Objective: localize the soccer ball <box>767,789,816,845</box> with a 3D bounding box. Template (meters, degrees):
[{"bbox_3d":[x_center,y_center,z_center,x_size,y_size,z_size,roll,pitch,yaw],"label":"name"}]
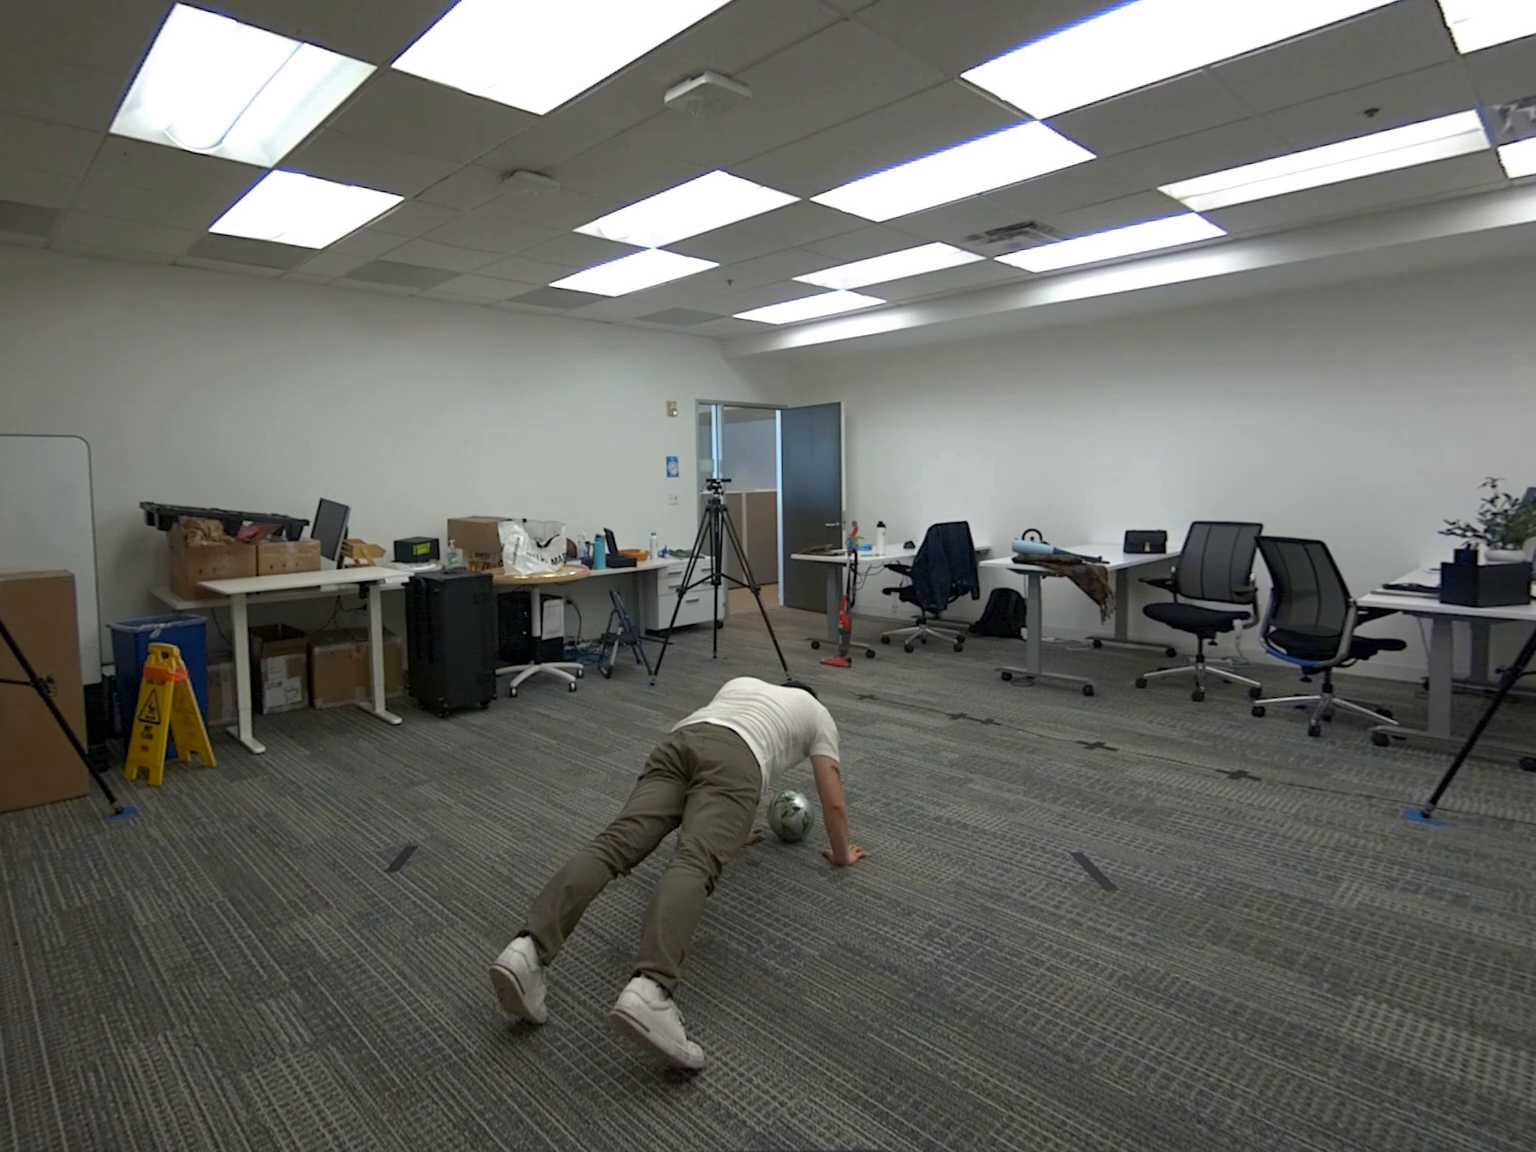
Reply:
[{"bbox_3d":[0.089,0.923,3.311,0.187,0.187,0.188,-1,5,-2],"label":"soccer ball"}]
